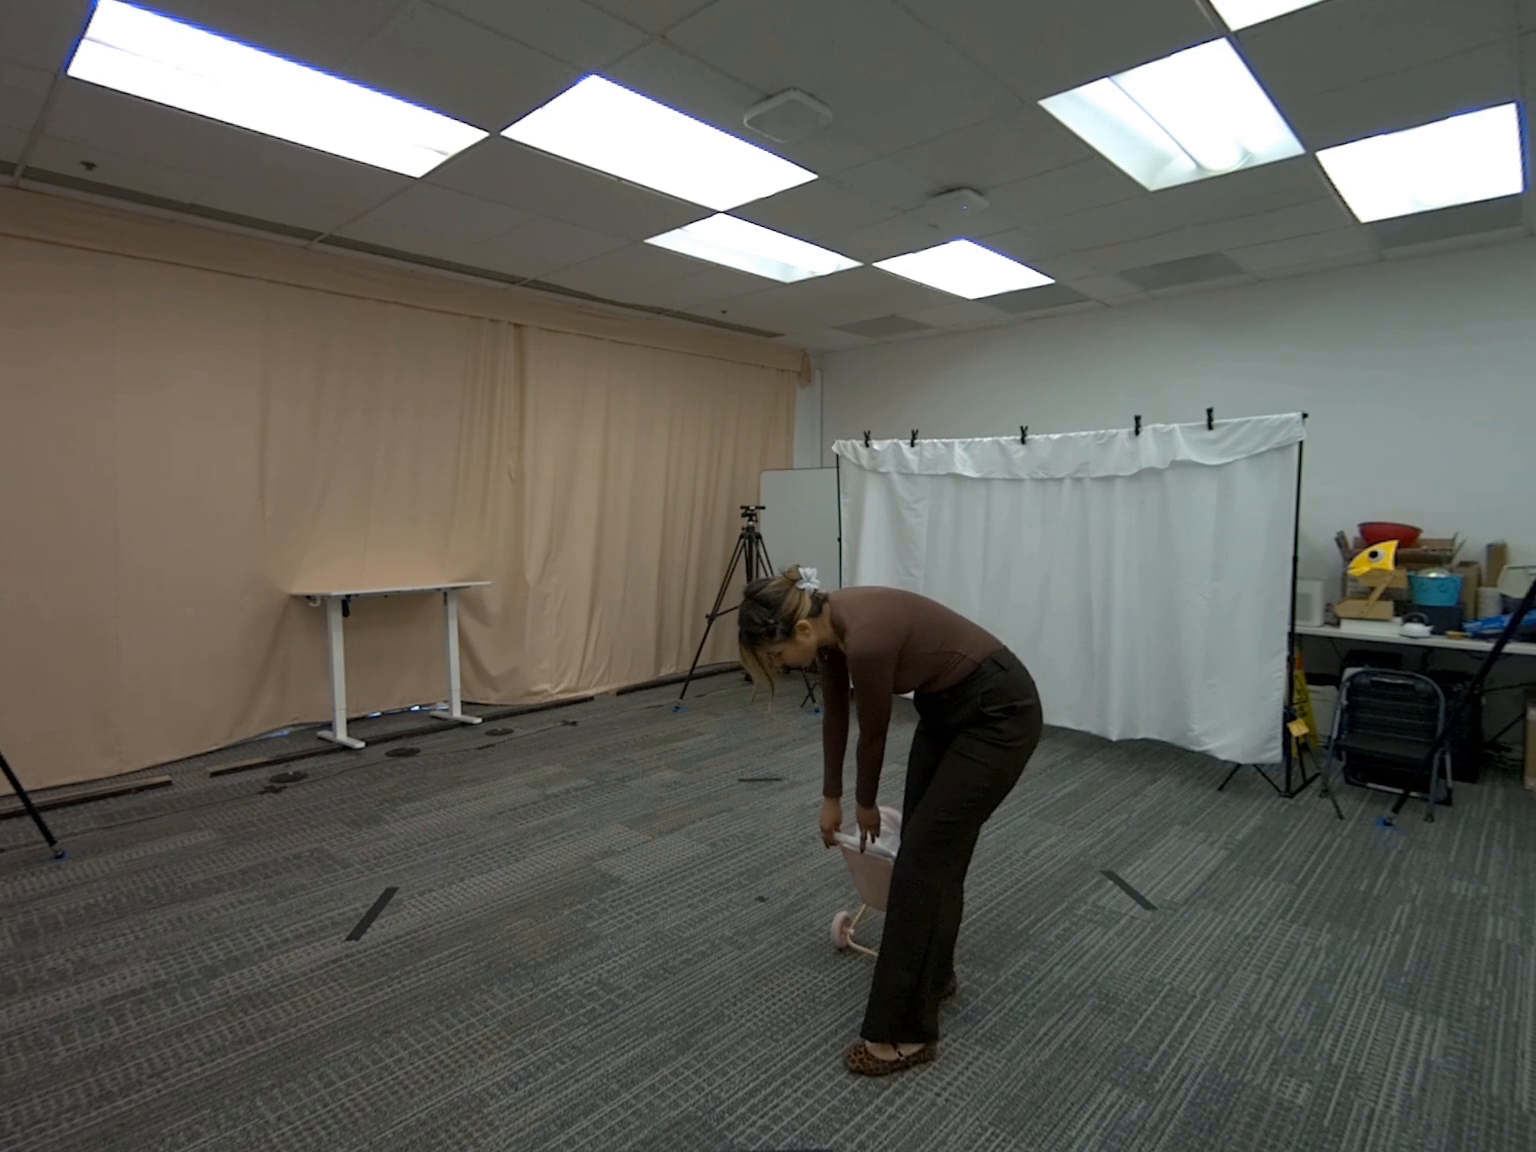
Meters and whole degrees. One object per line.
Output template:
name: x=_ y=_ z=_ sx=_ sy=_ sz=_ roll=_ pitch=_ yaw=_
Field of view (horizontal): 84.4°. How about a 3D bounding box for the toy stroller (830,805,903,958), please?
toy stroller: x=0.377 y=0.951 z=2.619 sx=0.291 sy=0.528 sz=0.334 roll=4 pitch=21 yaw=40
